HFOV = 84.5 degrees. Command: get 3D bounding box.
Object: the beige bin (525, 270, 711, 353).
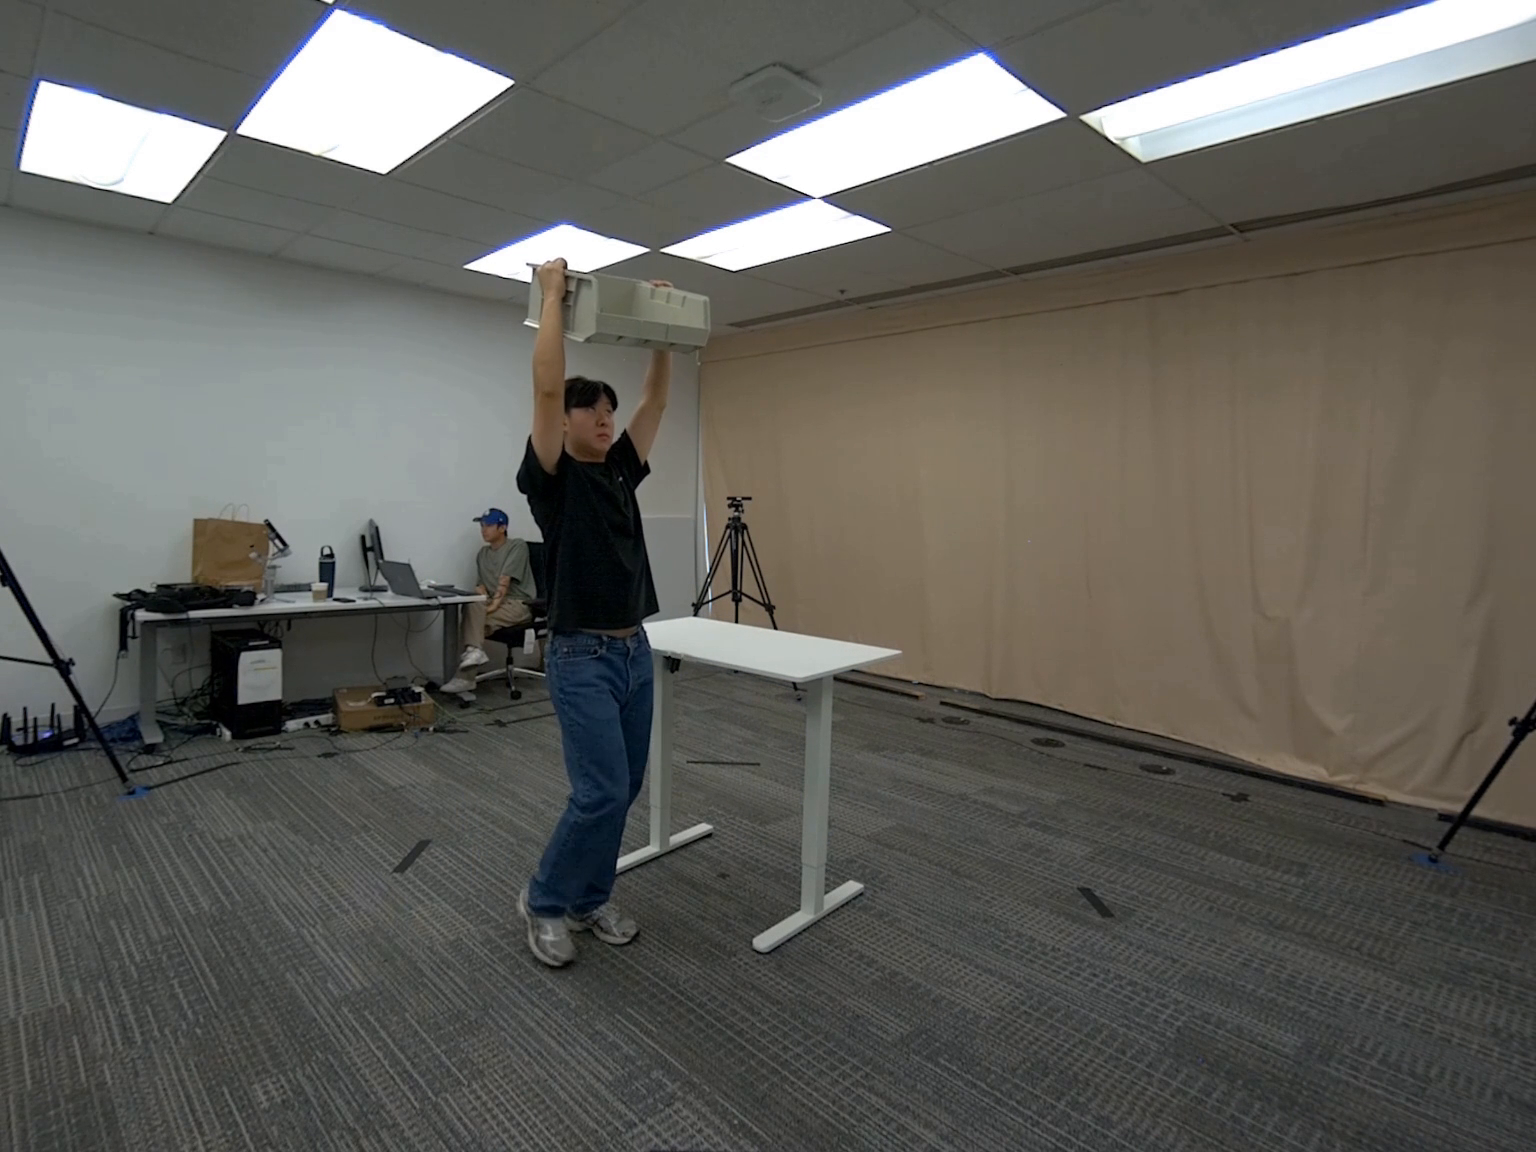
[{"bbox_3d":[-0.448,-0.782,2.501,0.389,0.187,0.413,27,24,39],"label":"beige bin"}]
